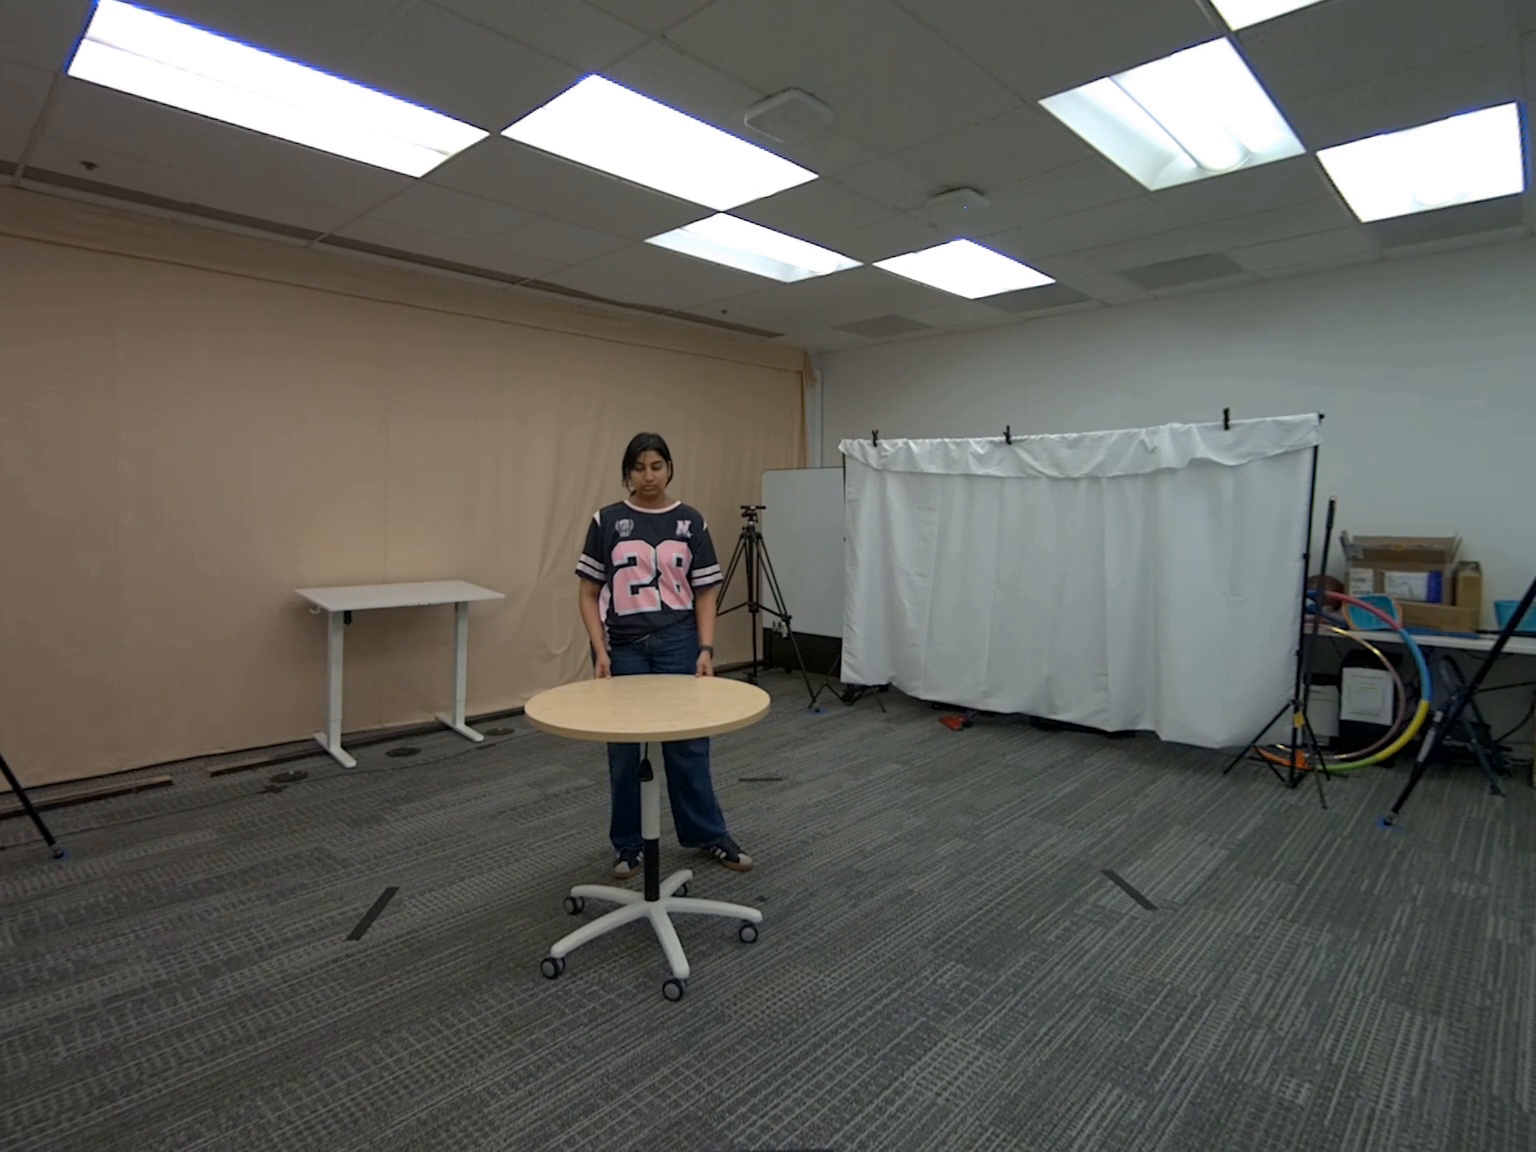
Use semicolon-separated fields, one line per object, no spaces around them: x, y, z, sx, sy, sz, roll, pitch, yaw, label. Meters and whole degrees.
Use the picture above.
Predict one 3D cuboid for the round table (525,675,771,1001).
-0.365;0.780;2.676;0.763;0.792;0.767;-1;4;-2;round table
